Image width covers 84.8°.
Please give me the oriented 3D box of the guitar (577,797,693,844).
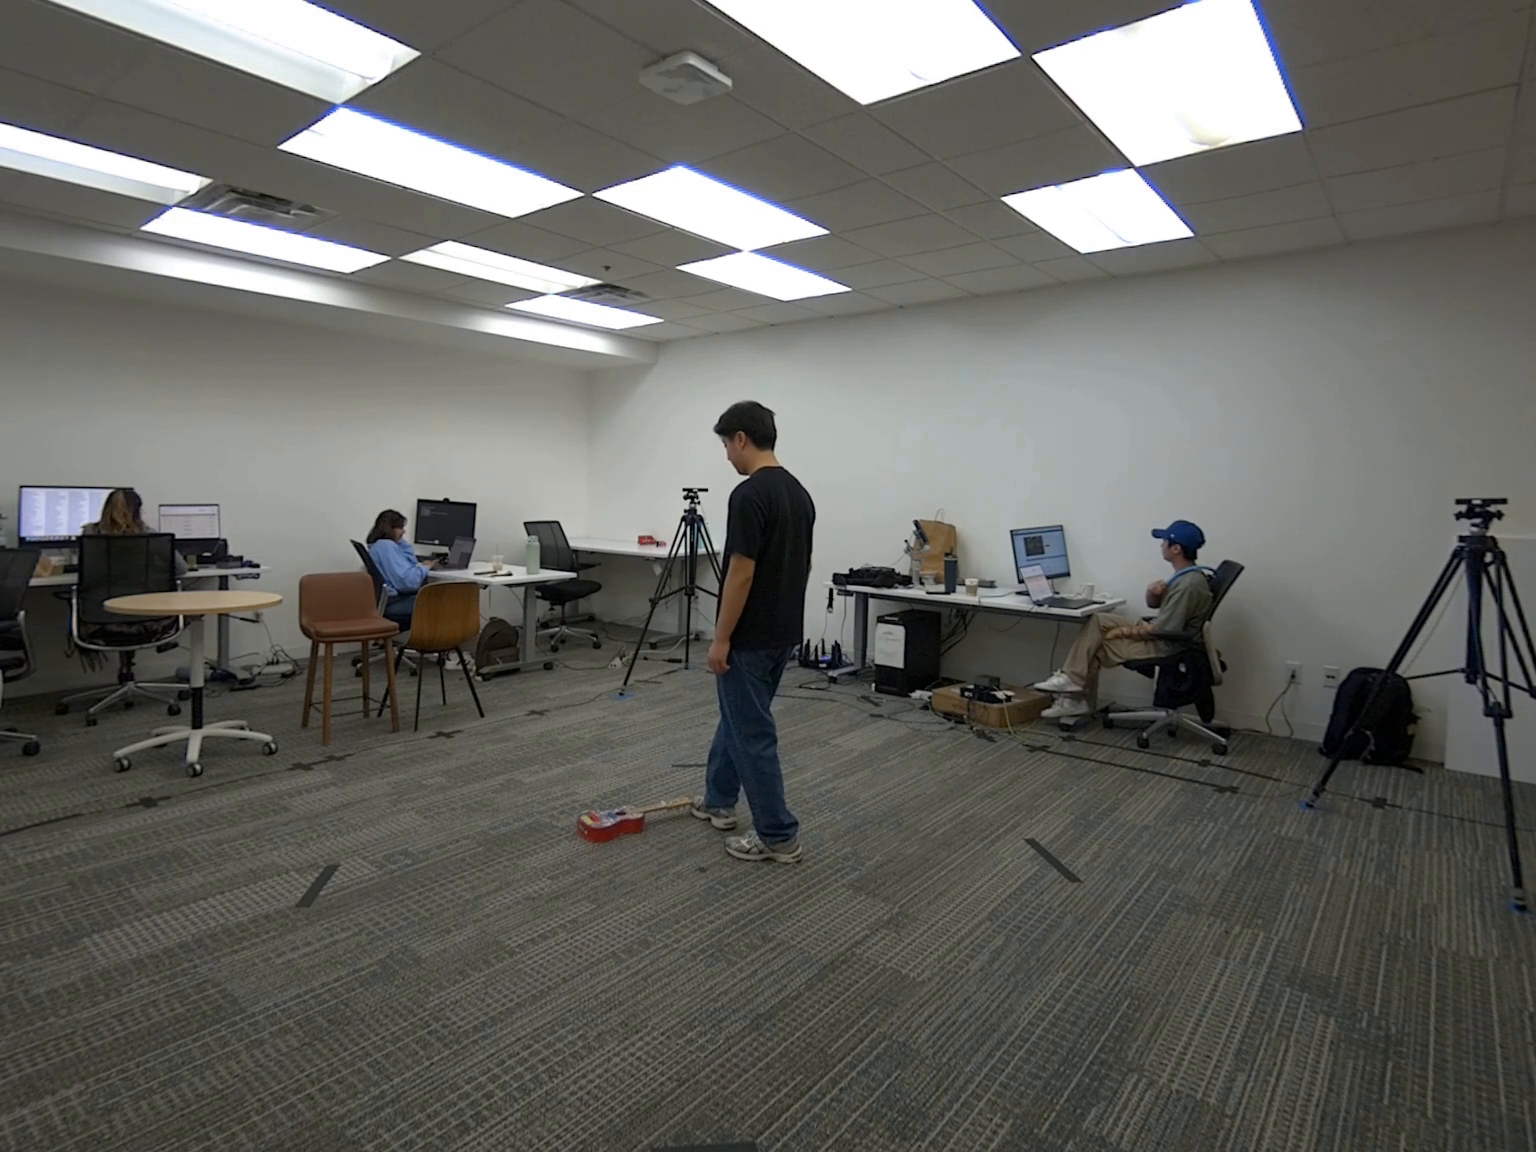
[{"bbox_3d":[-0.538,0.991,3.488,0.487,0.070,0.198,-2,5,-23],"label":"guitar"}]
